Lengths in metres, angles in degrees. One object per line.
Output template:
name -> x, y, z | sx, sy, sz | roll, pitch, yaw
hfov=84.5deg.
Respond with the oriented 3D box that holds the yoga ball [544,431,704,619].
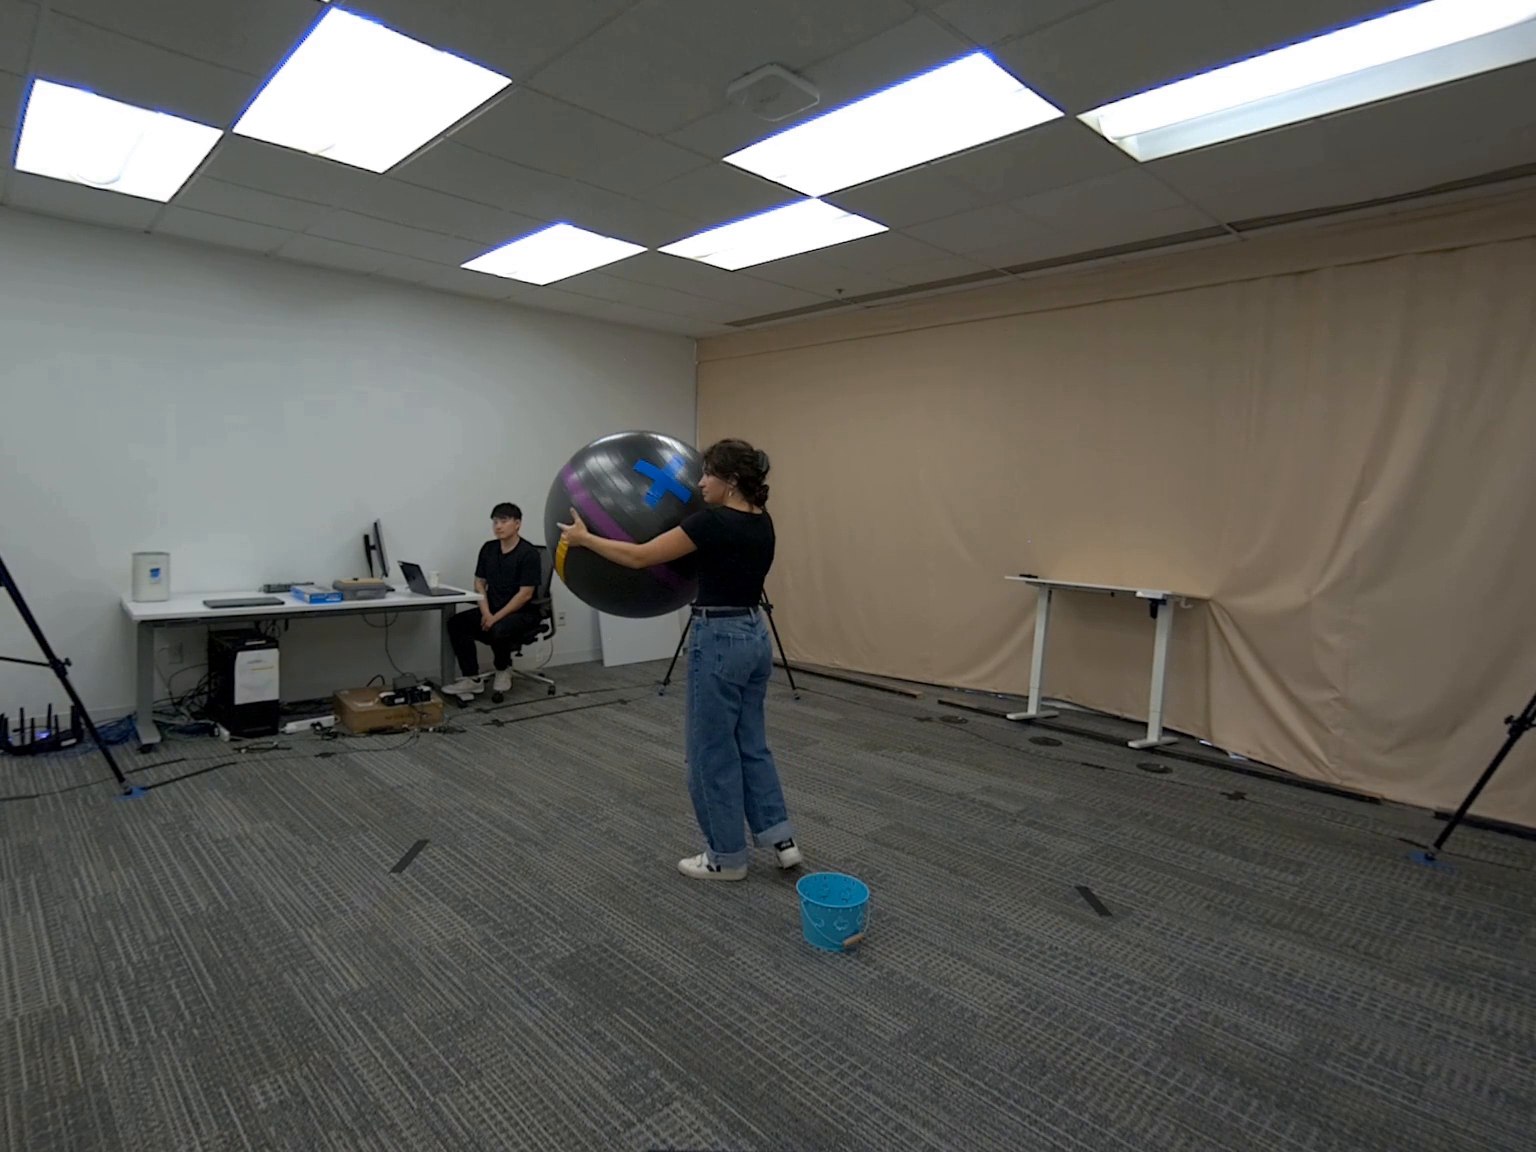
yoga ball -> -0.526, -0.204, 3.412 | 0.757, 0.756, 0.761 | 1, 4, -1
